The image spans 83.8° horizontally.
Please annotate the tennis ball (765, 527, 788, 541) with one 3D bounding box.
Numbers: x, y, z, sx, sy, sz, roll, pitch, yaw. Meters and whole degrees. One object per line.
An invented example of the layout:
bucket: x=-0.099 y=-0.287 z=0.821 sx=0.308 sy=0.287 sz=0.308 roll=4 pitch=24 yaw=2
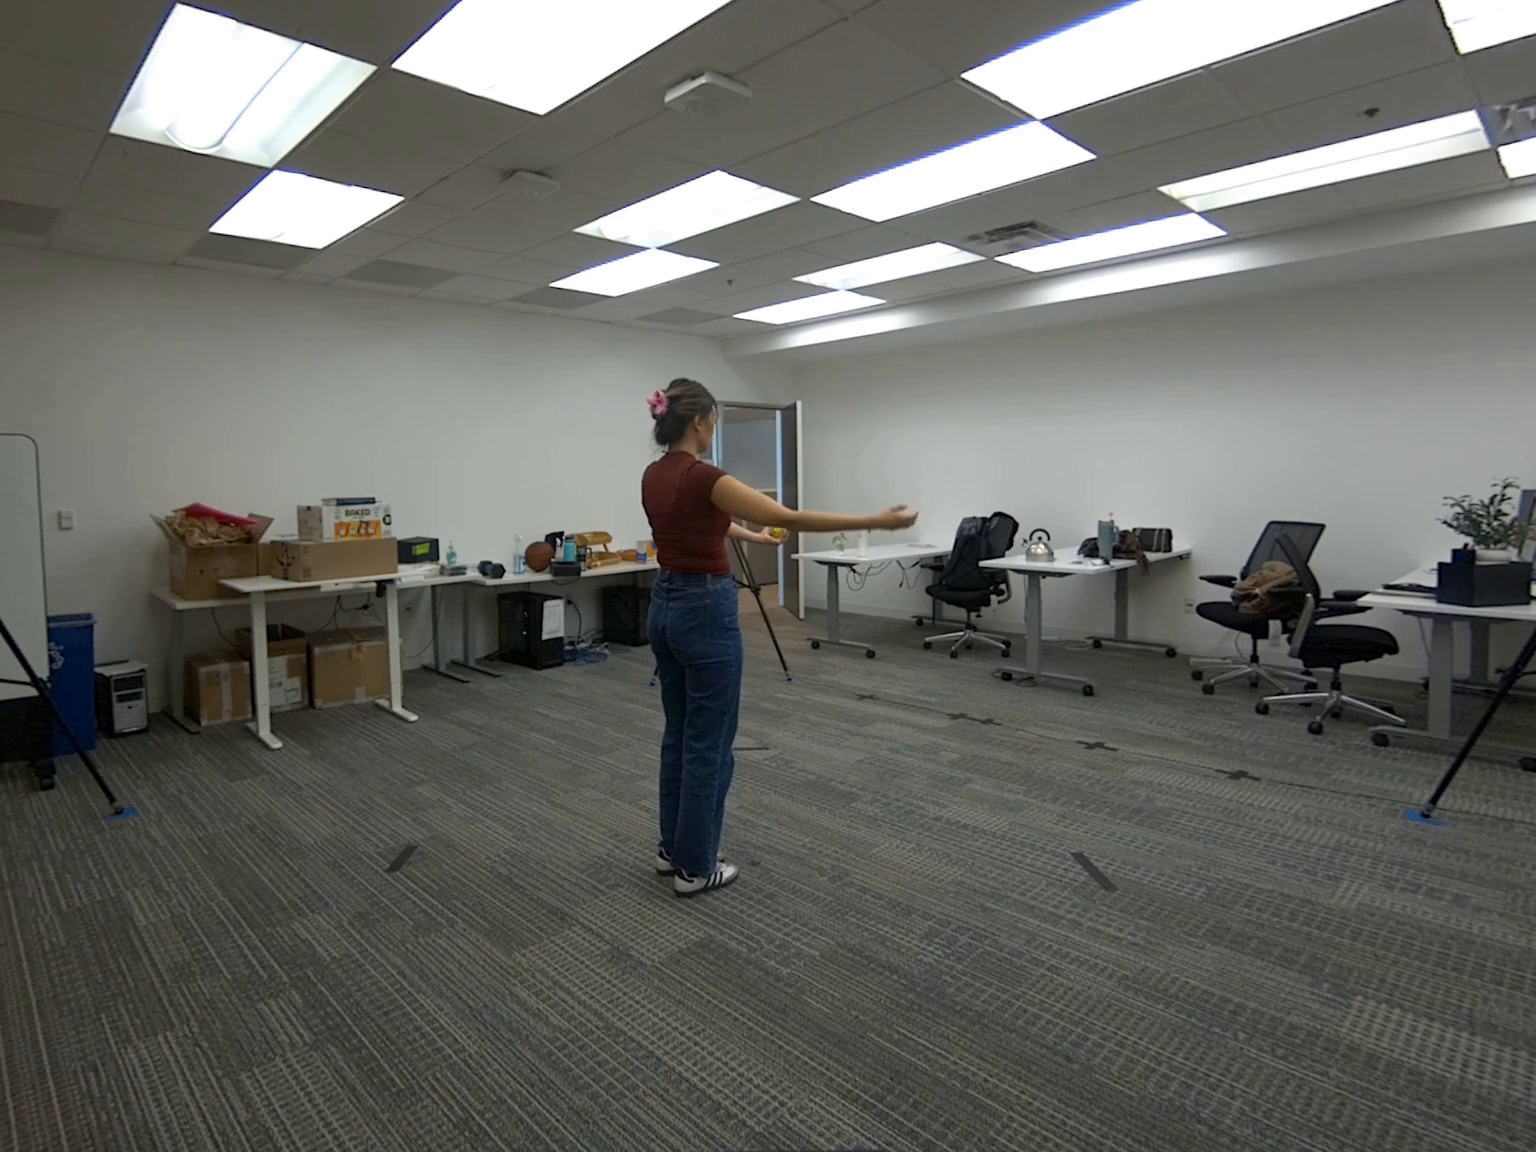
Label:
tennis ball: x=0.040 y=-0.172 z=3.346 sx=0.066 sy=0.066 sz=0.067 roll=-1 pitch=5 yaw=-2
